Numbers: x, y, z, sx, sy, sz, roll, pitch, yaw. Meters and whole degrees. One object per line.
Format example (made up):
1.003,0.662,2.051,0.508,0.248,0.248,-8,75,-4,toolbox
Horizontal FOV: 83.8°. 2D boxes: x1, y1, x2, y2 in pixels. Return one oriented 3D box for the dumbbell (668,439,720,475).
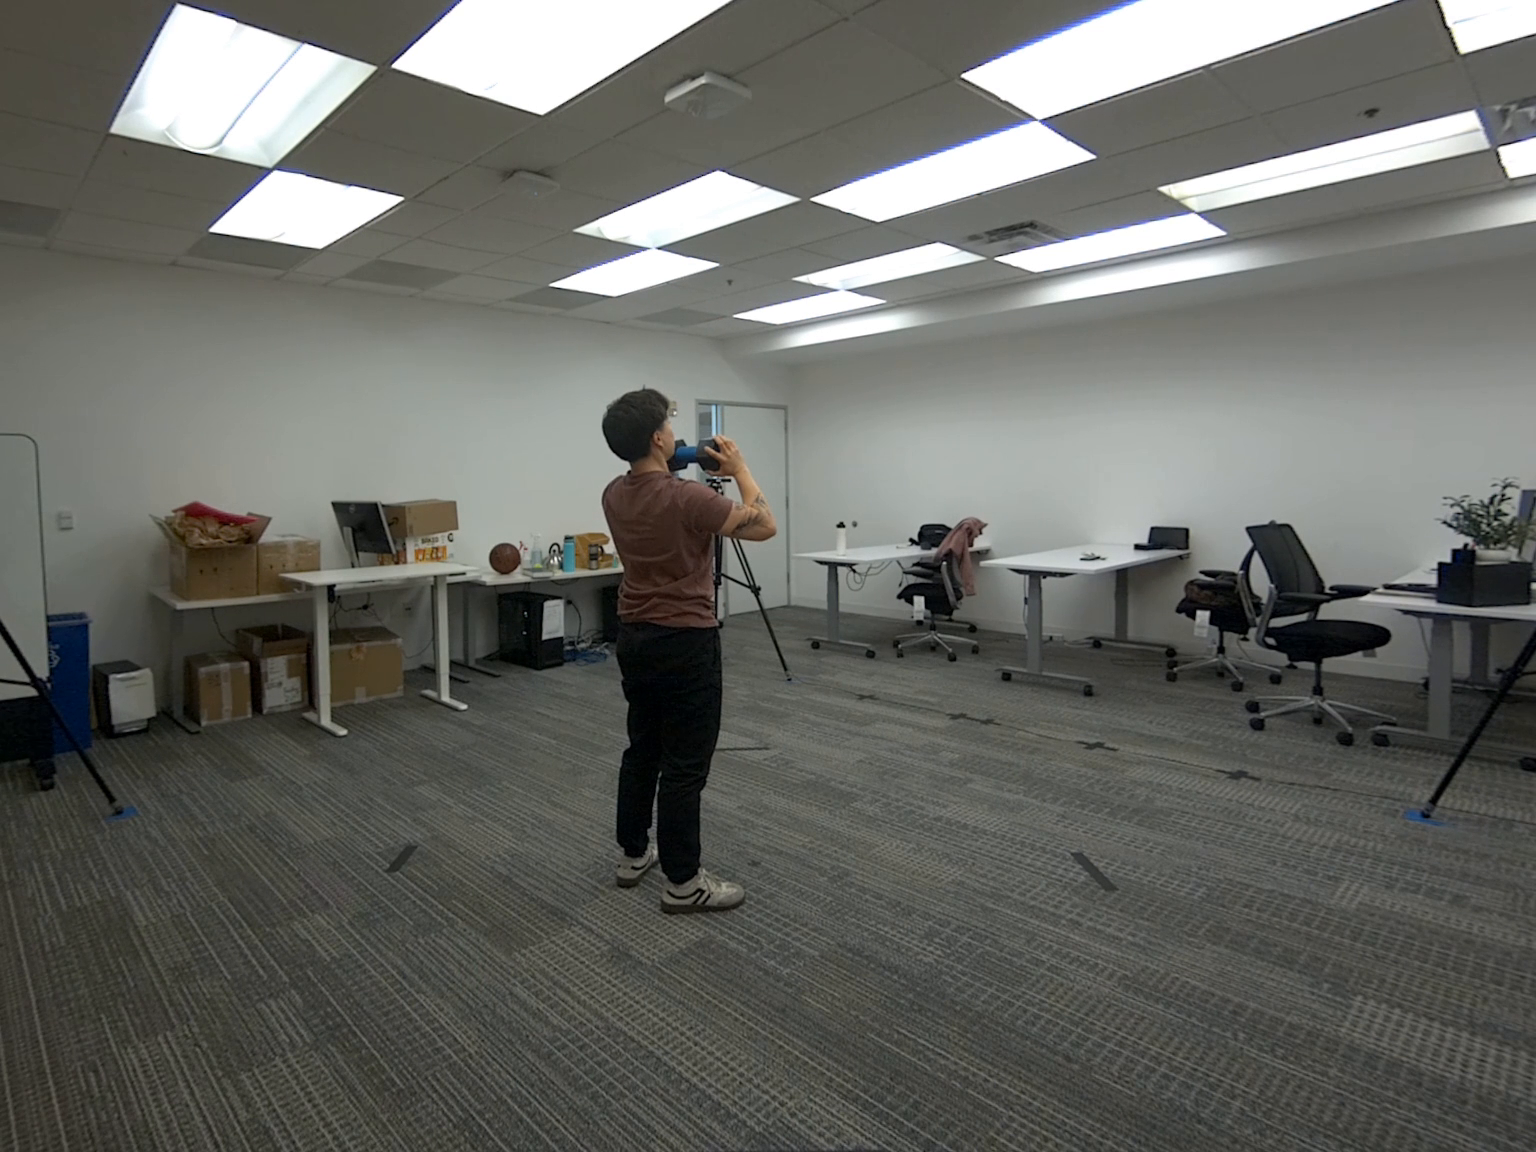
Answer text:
-0.257,-0.427,2.944,0.303,0.119,0.109,6,46,46,dumbbell
